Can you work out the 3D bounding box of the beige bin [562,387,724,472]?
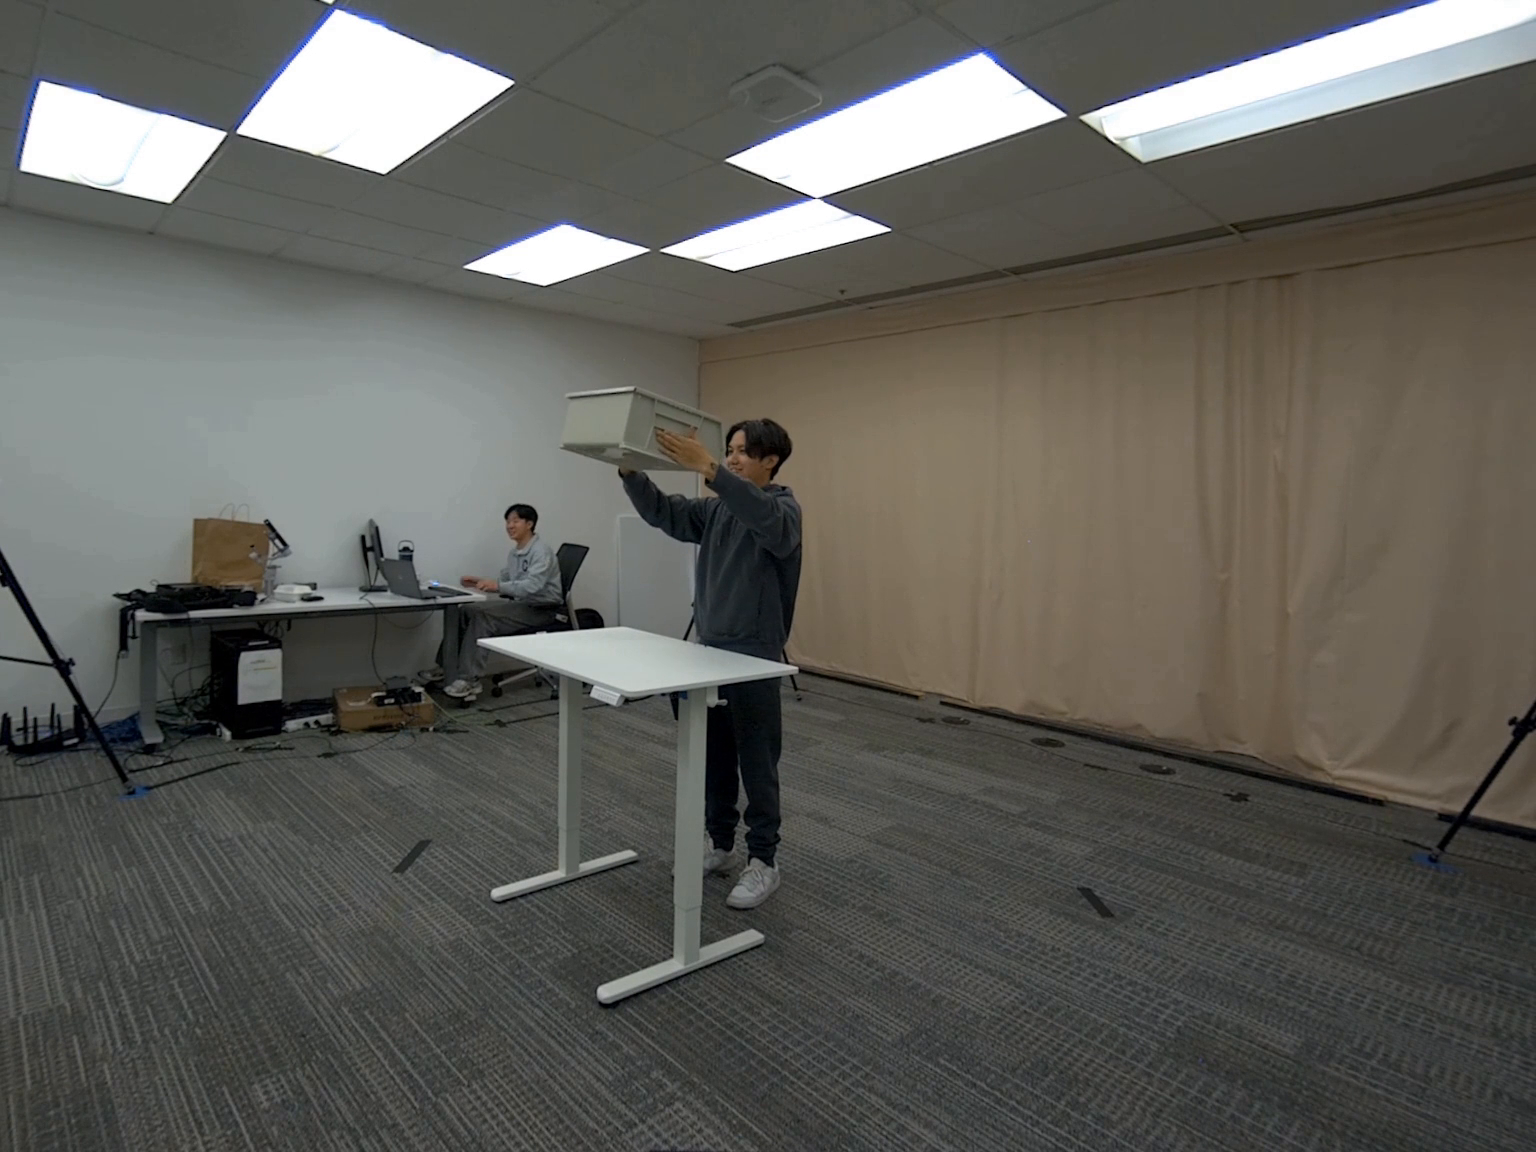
[{"bbox_3d":[-0.409,-0.448,2.701,0.367,0.189,0.433,13,-2,-40],"label":"beige bin"}]
